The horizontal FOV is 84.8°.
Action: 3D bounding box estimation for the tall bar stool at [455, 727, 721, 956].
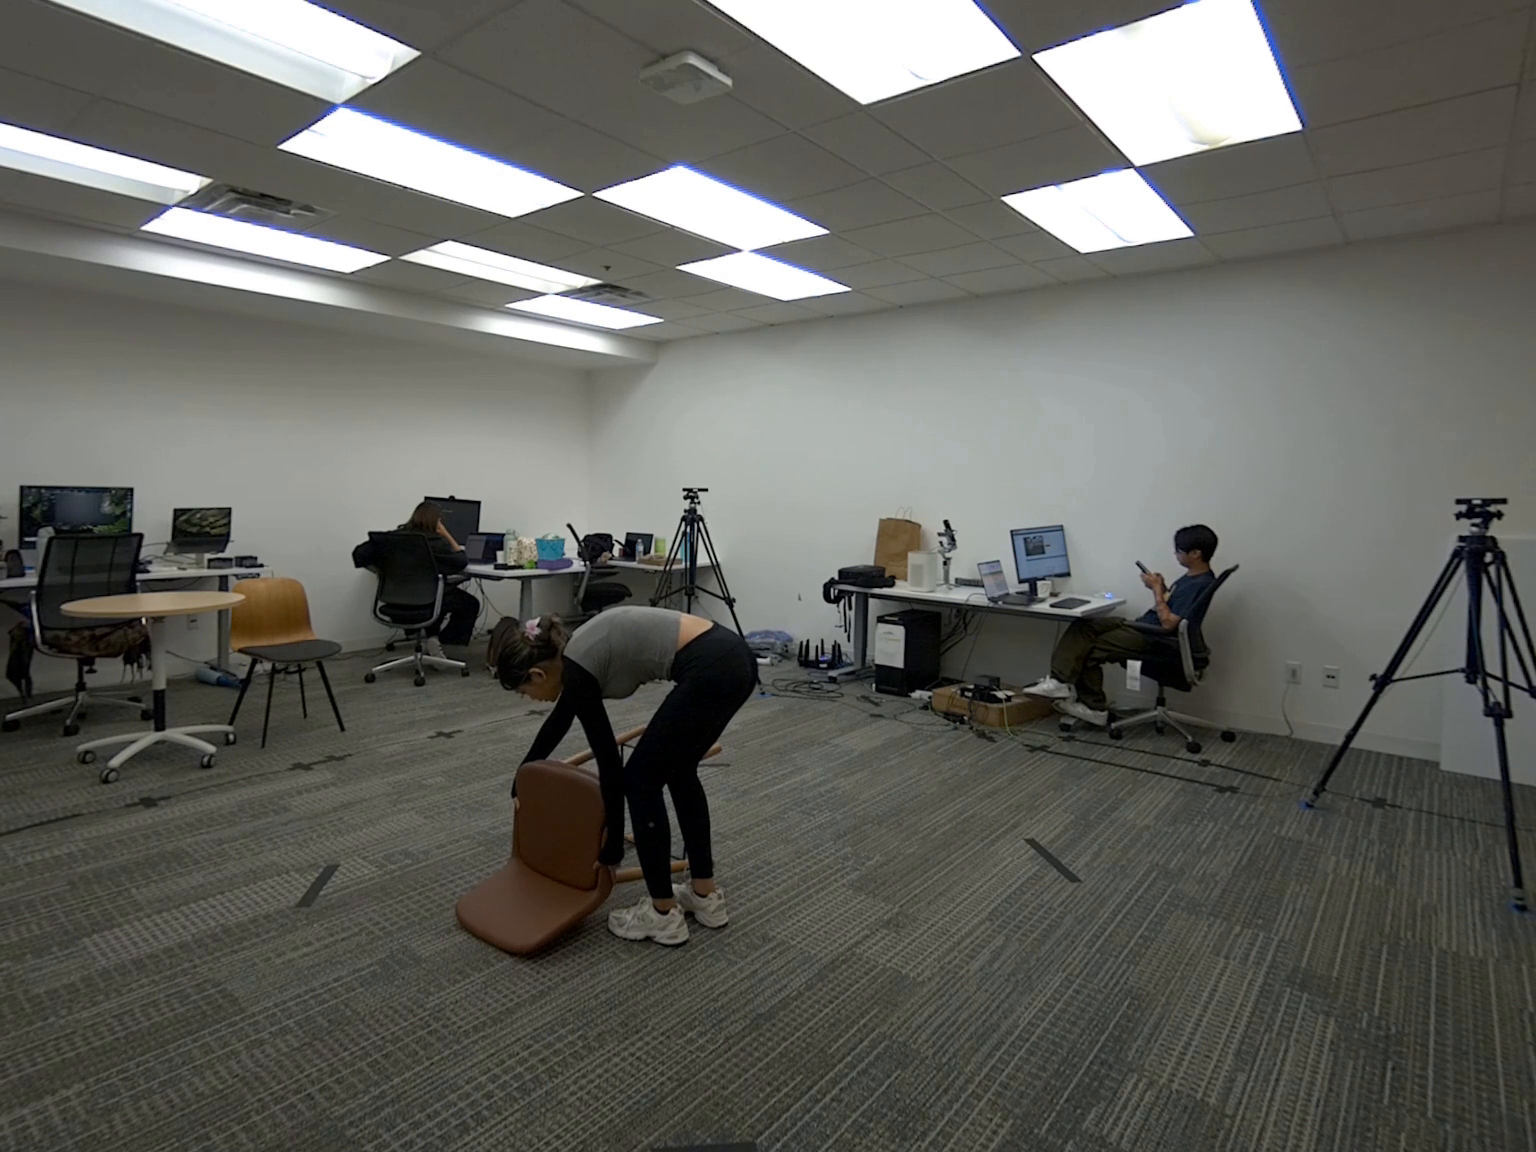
[{"bbox_3d":[-0.605,0.854,2.911,0.471,0.466,0.864,4,6,37],"label":"tall bar stool"}]
